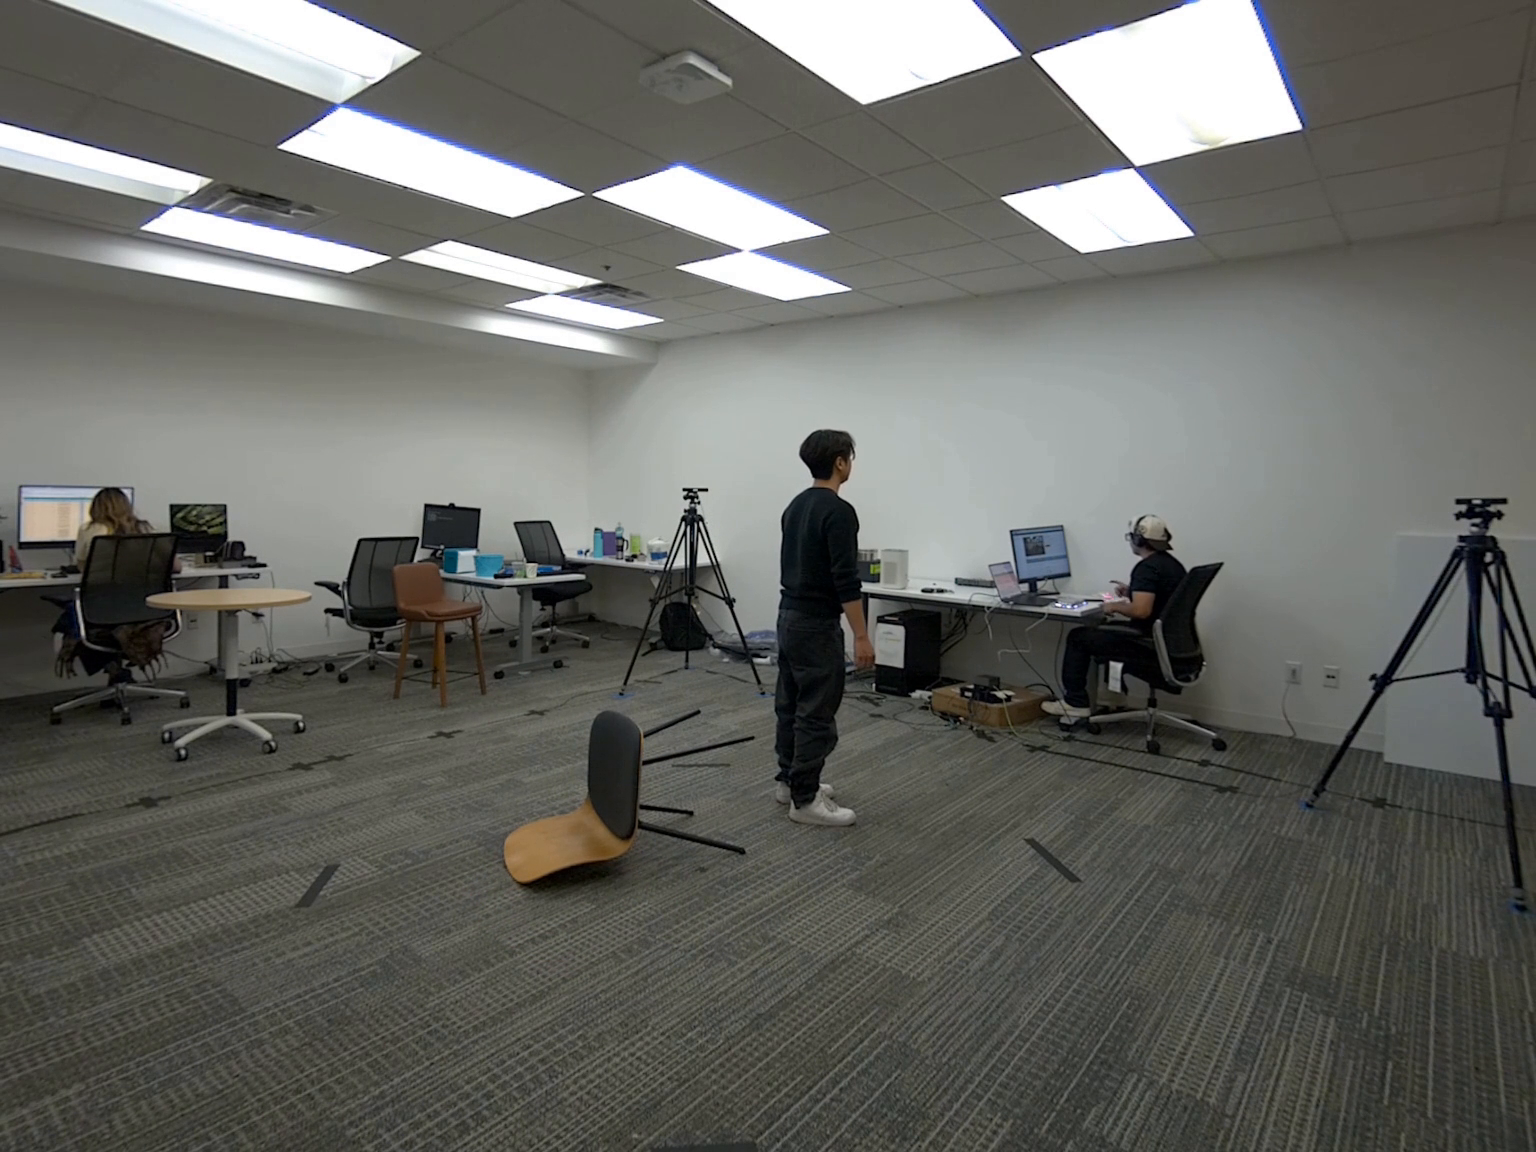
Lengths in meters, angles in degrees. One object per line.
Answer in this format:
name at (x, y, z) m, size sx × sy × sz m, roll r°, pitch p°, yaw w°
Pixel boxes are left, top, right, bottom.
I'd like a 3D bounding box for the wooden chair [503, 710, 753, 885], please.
wooden chair at (-0.559, 0.793, 3.232) m, size 0.854 × 0.521 × 0.492 m, roll -3°, pitch 5°, yaw -30°
